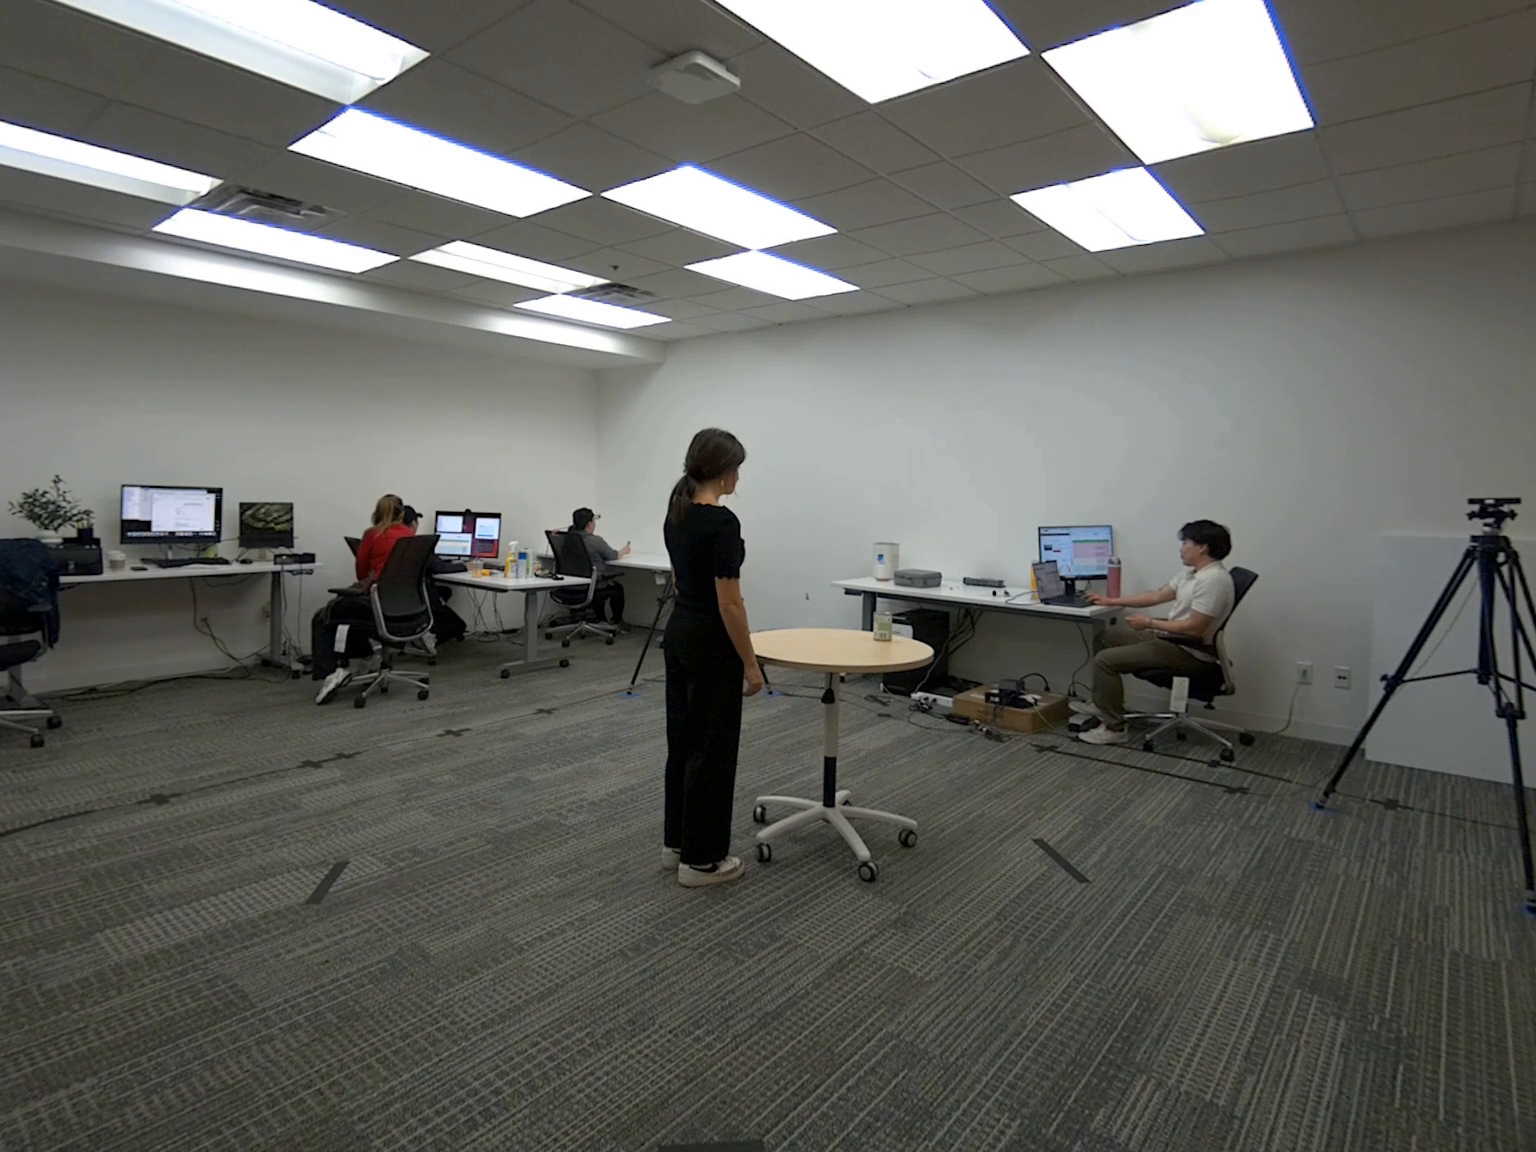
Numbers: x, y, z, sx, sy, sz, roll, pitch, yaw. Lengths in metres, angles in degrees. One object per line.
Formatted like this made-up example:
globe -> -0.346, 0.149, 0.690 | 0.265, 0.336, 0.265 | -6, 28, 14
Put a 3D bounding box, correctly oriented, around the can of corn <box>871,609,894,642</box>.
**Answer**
can of corn -> 0.464, 0.205, 3.477 | 0.074, 0.111, 0.074 | 5, 3, -2
